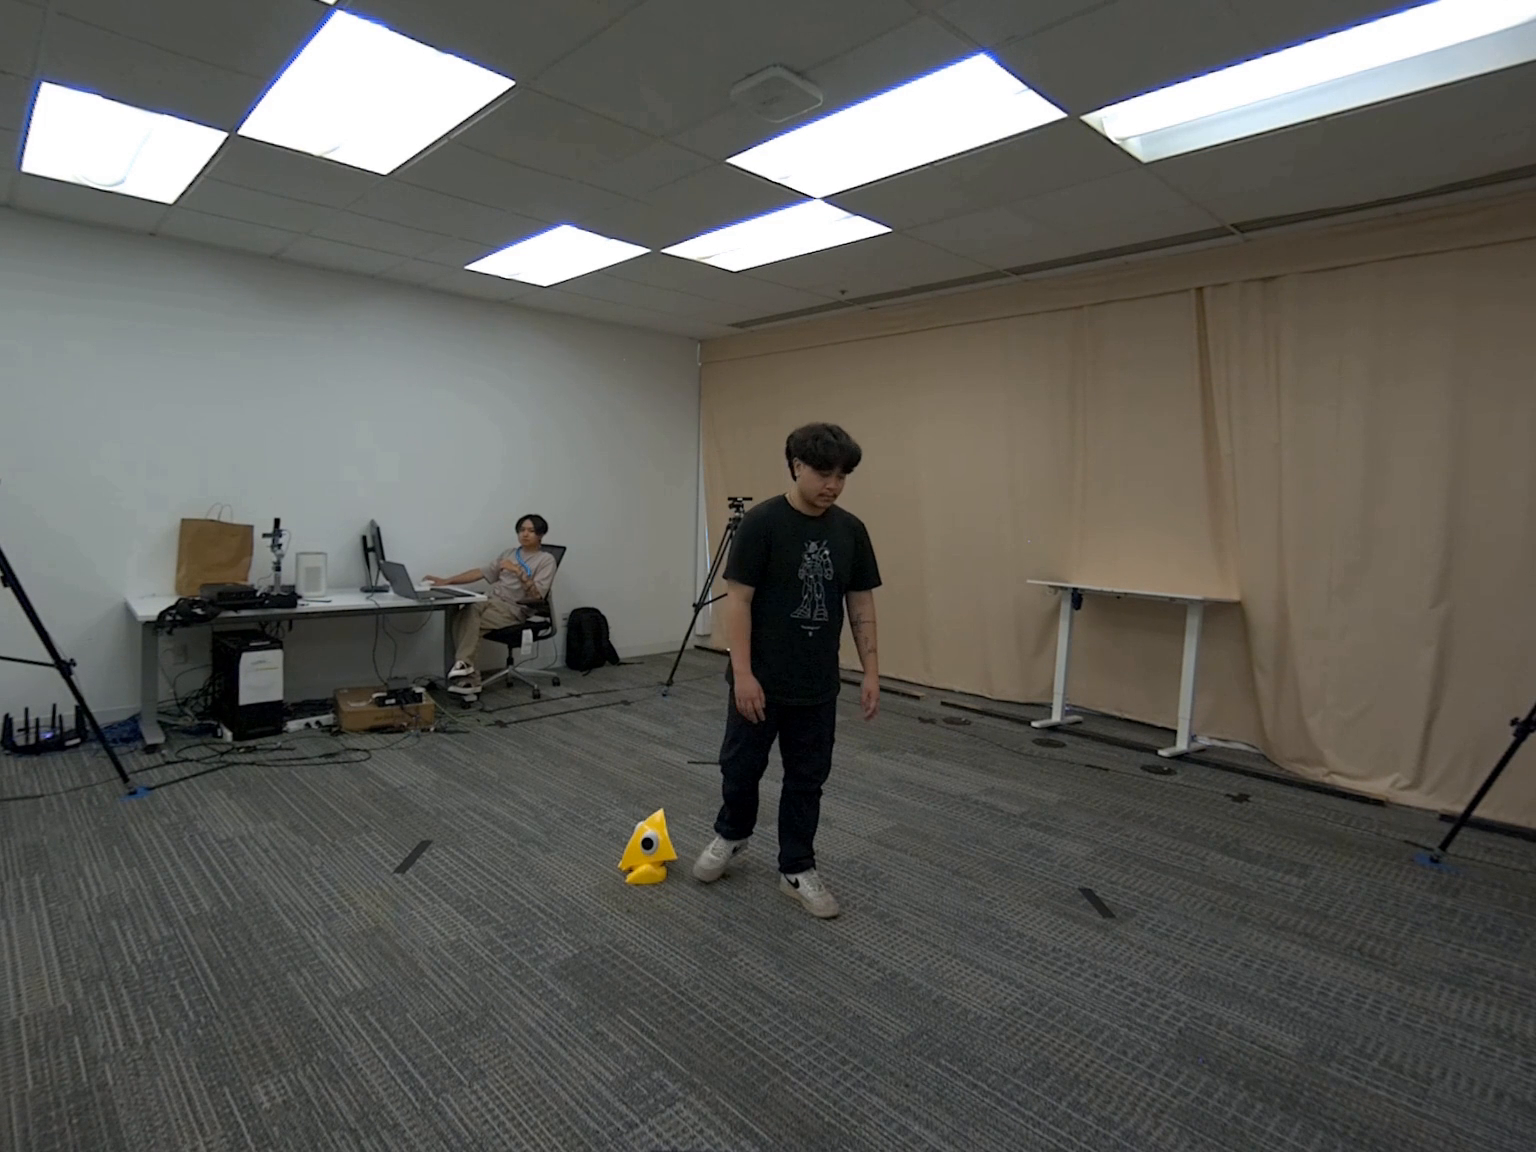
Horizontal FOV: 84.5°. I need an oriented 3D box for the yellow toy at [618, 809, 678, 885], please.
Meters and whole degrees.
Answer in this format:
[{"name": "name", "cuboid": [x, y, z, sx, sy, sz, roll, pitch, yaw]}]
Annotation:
[{"name": "yellow toy", "cuboid": [-0.455, 0.982, 3.125, 0.190, 0.230, 0.209, 0, 5, -22]}]
